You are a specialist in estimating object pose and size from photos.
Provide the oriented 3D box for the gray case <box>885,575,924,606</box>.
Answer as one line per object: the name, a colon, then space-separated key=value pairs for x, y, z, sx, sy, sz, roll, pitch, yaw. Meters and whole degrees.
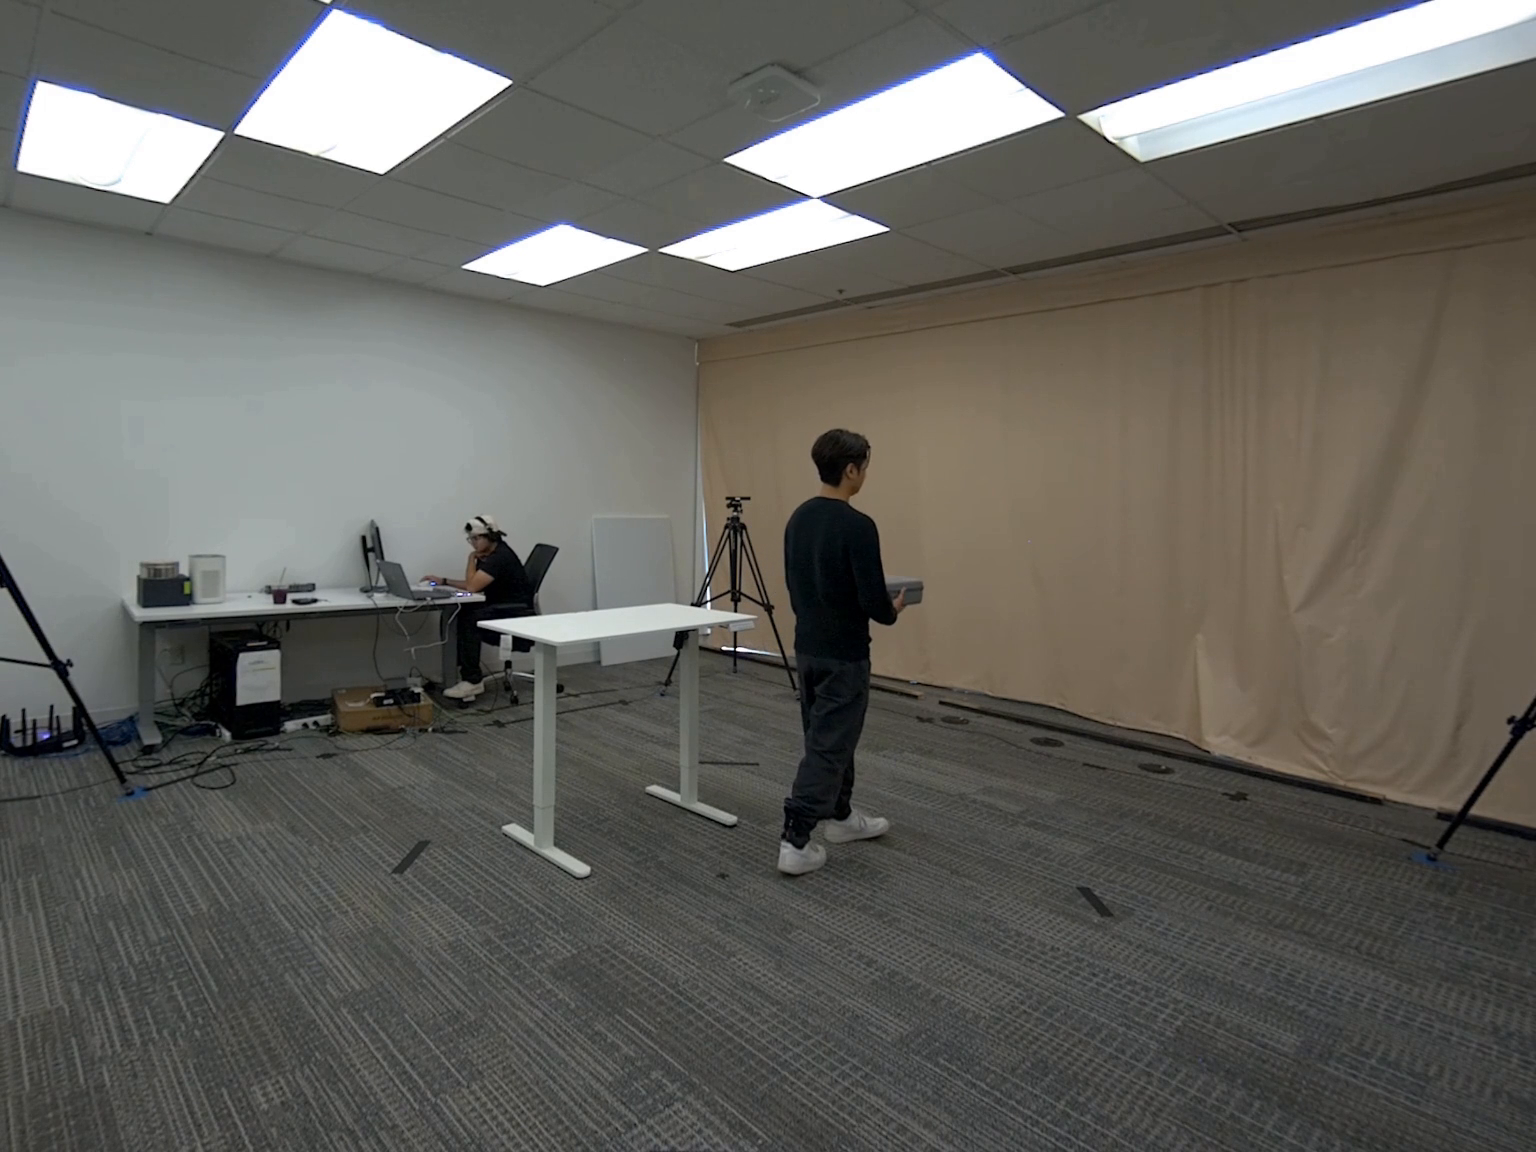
gray case: x=0.479 y=0.052 z=3.481 sx=0.251 sy=0.104 sz=0.267 roll=-4 pitch=10 yaw=-35
